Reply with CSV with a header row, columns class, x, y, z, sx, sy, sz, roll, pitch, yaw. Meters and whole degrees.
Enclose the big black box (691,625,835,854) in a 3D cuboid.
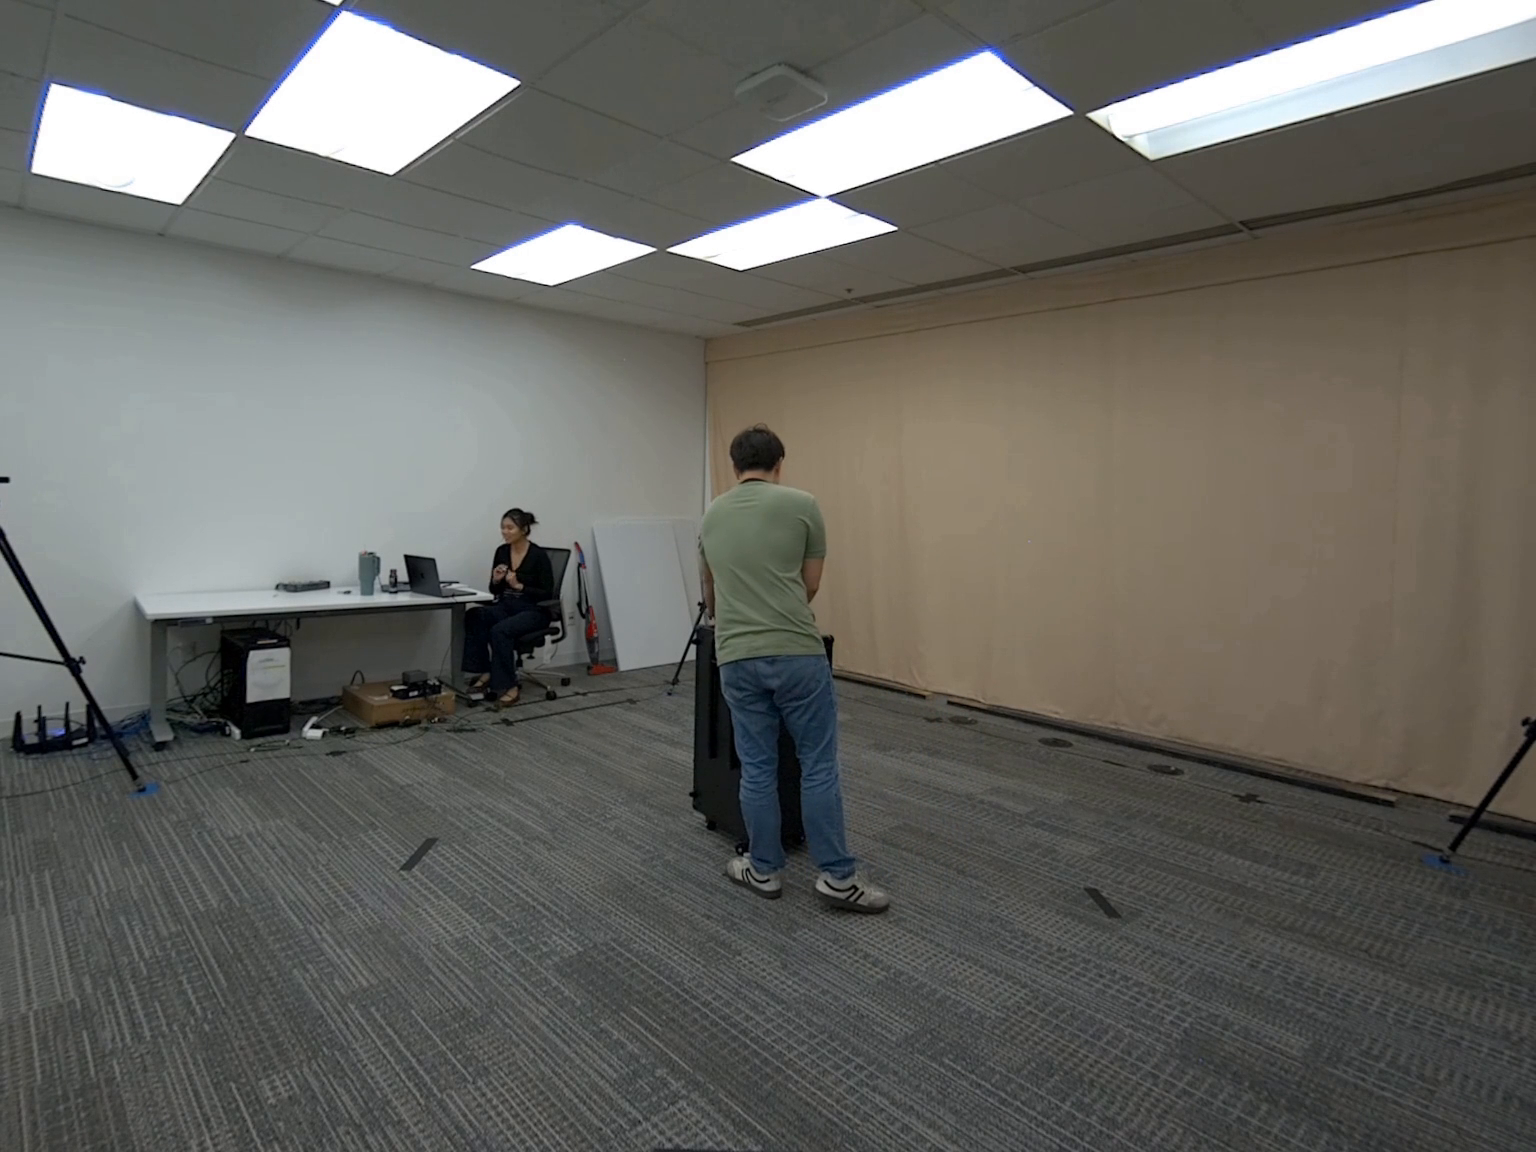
class,x,y,z,sx,sy,sz,roll,pitch,yaw
big black box,-0.042,0.653,3.443,0.388,0.859,0.534,-1,4,-34
